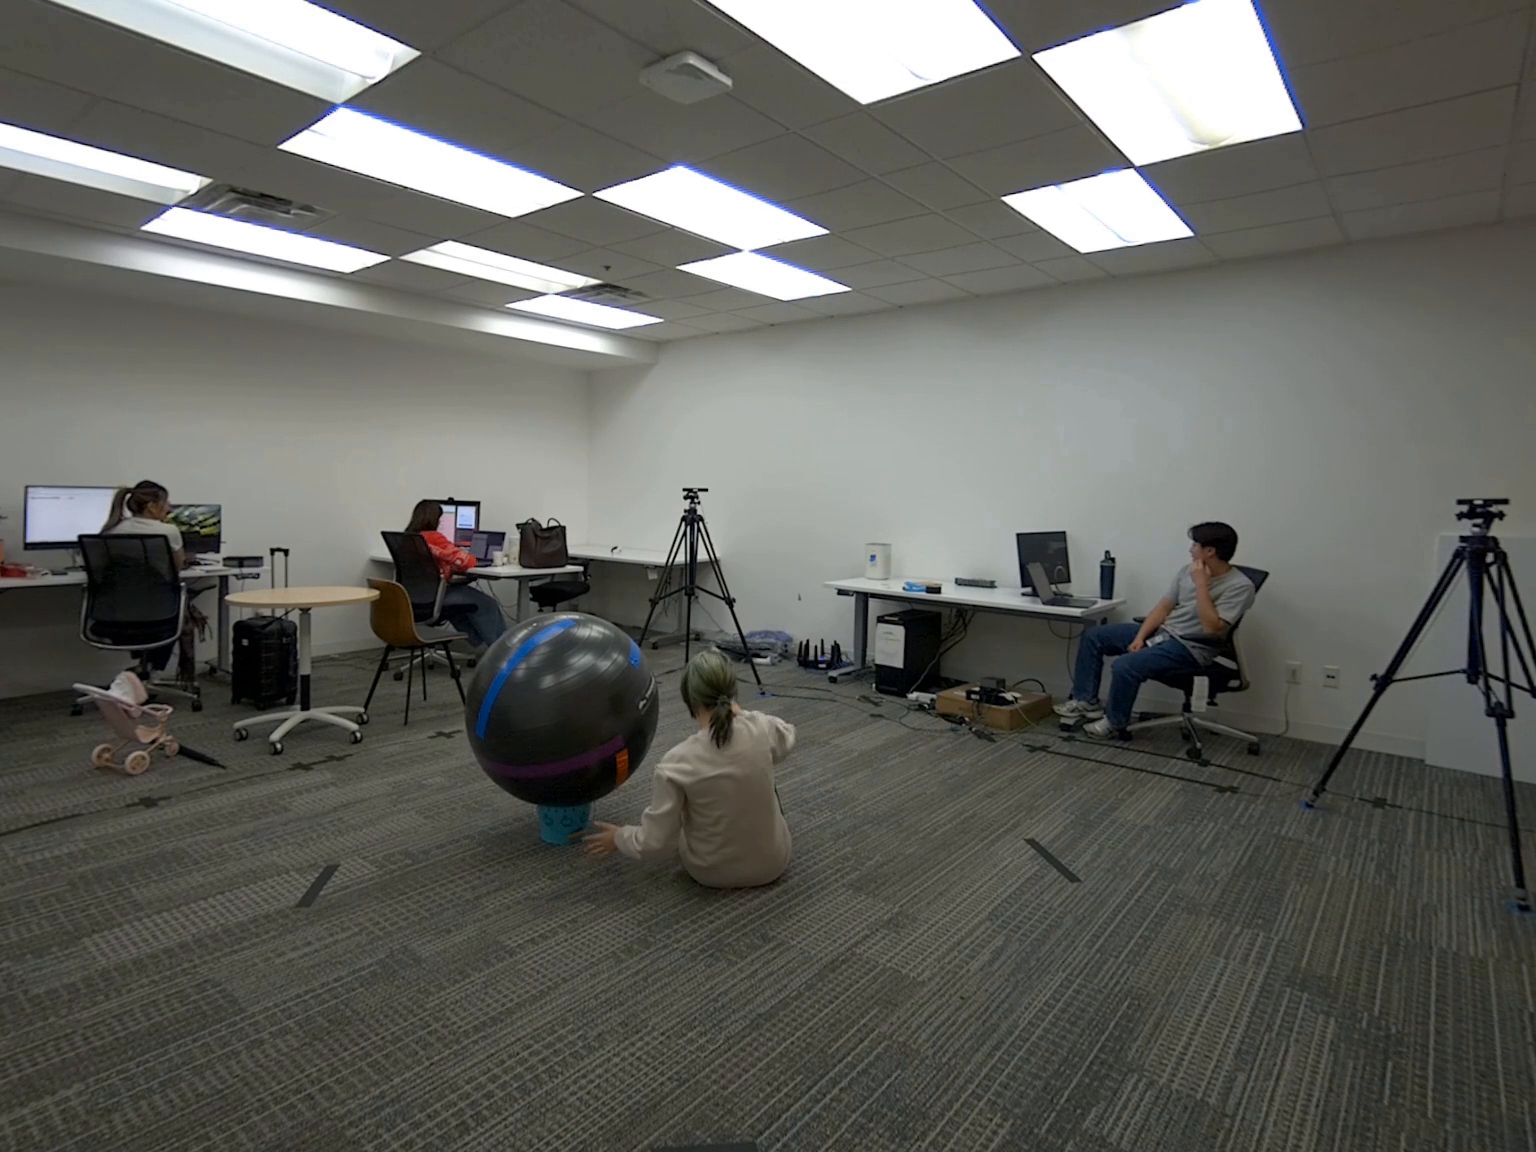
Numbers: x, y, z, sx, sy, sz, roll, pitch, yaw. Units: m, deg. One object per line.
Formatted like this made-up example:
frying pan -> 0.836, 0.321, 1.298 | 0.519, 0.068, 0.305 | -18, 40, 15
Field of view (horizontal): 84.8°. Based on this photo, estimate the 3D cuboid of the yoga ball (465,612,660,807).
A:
yoga ball -> -0.827, 0.524, 3.373 | 0.757, 0.756, 0.761 | 1, 4, -2
